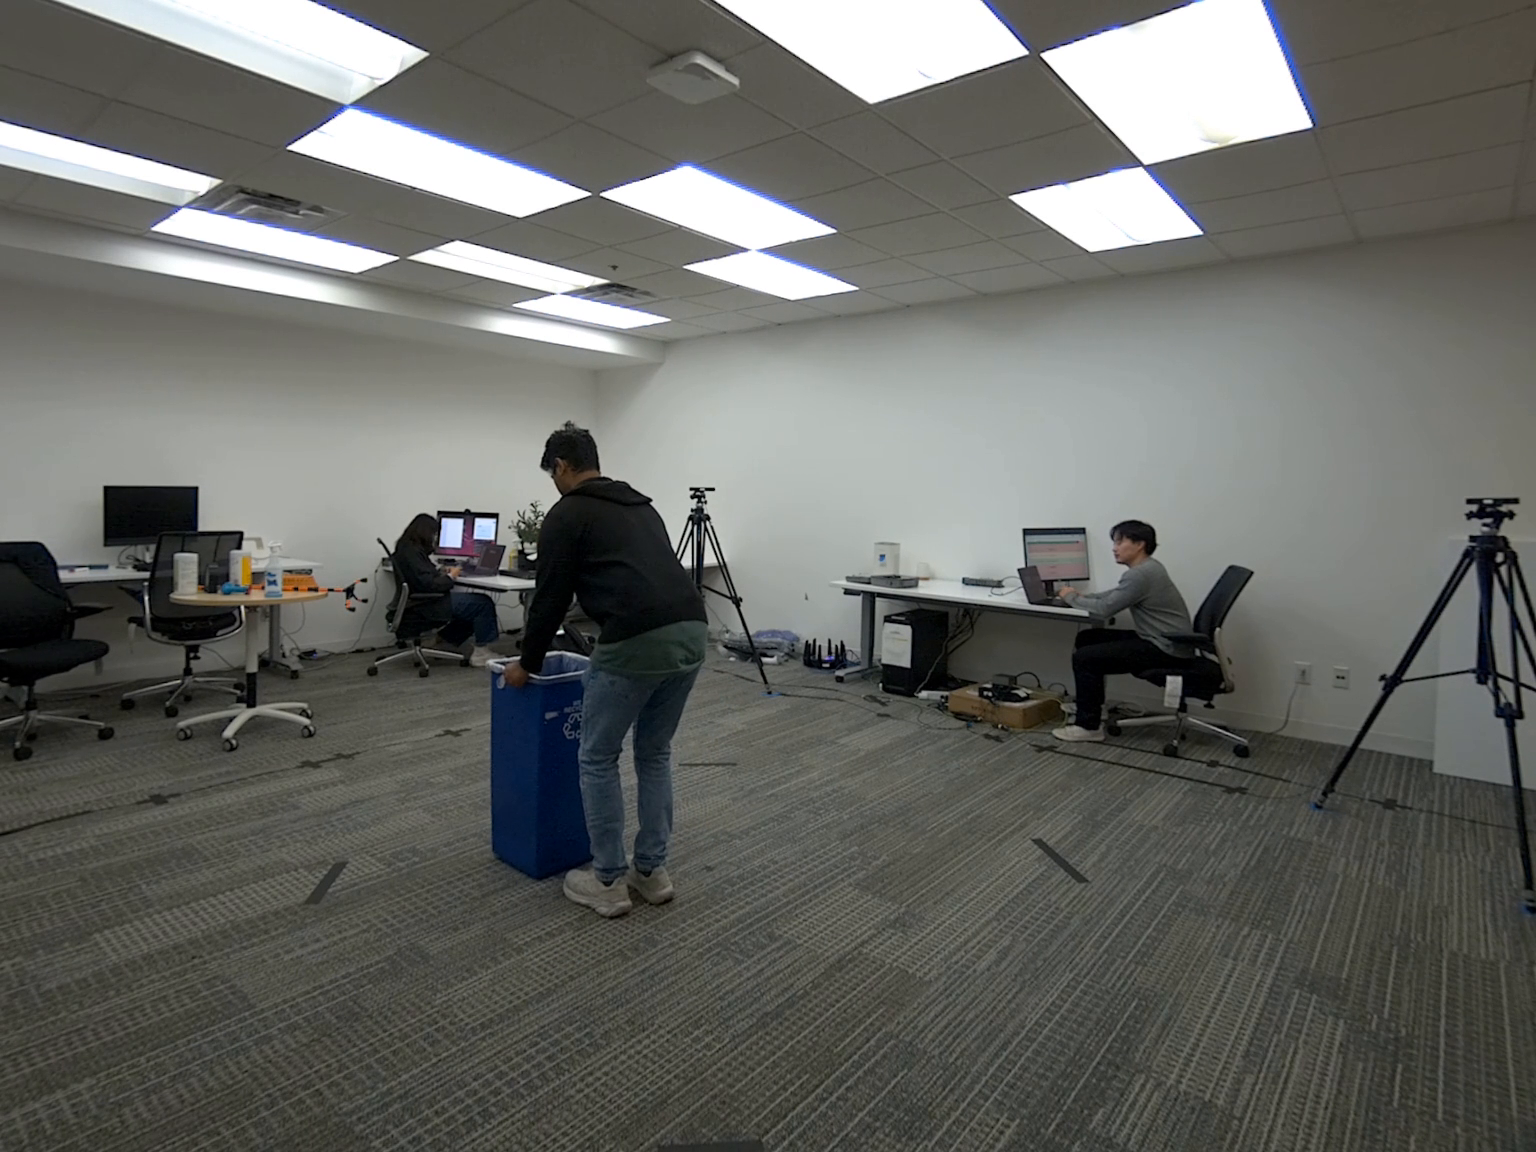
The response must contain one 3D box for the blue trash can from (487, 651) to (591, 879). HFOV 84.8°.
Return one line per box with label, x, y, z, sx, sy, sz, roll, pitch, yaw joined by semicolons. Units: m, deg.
blue trash can;-0.824;0.671;3.170;0.391;0.711;0.362;5;4;41
